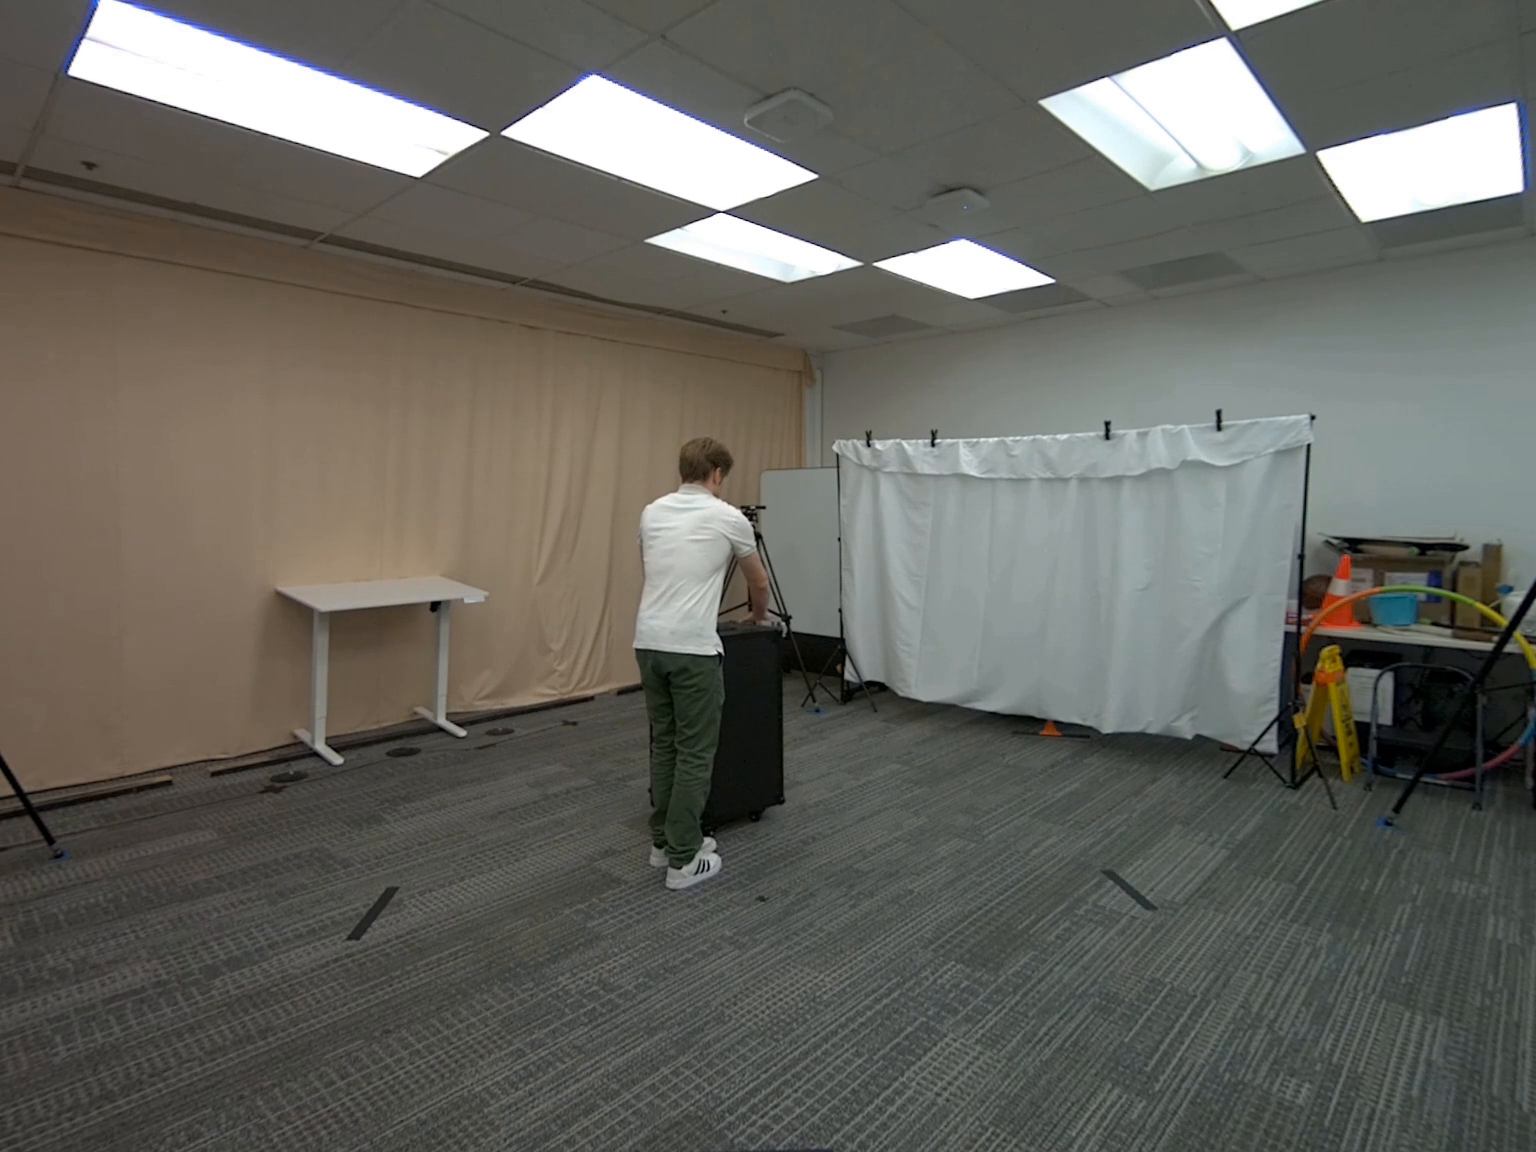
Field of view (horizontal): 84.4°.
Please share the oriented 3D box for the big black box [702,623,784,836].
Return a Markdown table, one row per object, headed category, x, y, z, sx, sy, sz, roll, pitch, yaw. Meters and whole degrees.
| category | x | y | z | sx | sy | sz | roll | pitch | yaw |
| --- | --- | --- | --- | --- | --- | --- | --- | --- | --- |
| big black box | -0.232 | 0.661 | 3.721 | 0.507 | 0.867 | 0.398 | -3 | 4 | -40 |
